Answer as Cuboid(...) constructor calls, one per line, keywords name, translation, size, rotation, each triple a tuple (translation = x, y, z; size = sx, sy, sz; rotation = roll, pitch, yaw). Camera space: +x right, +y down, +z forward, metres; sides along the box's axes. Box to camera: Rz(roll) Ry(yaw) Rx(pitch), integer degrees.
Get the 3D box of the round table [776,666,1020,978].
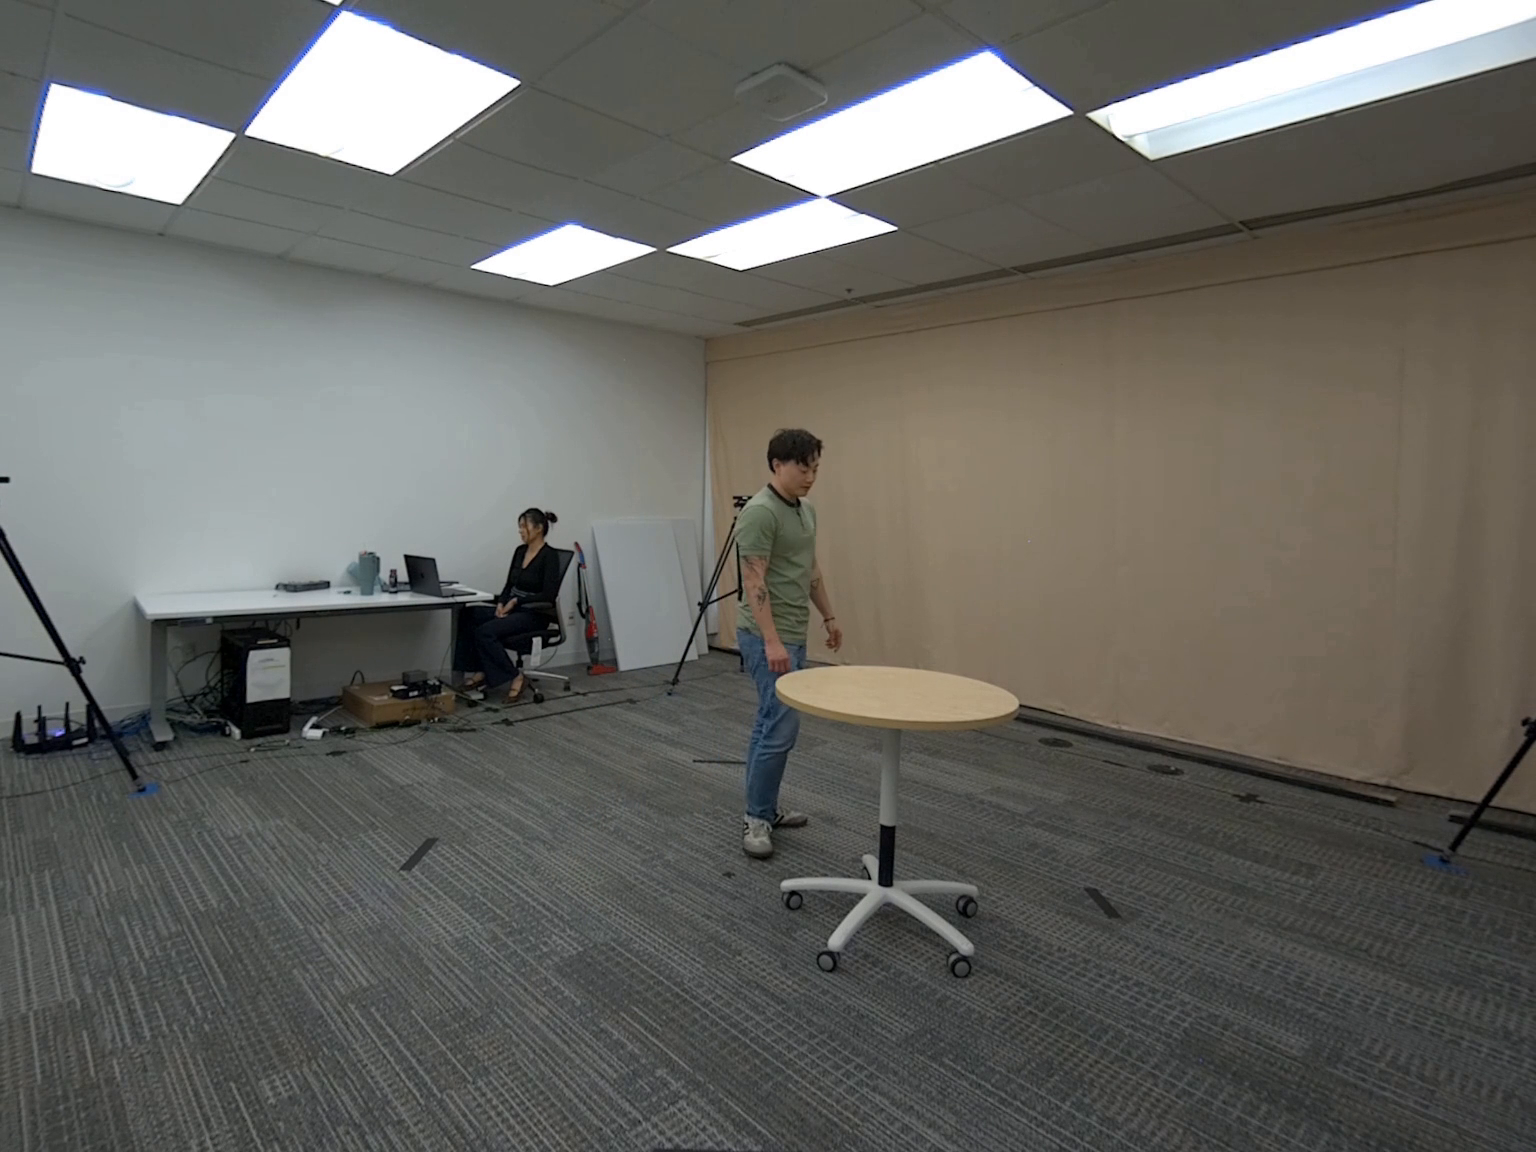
Cuboid(name="round table", translation=(0.384, 0.760, 2.739), size=(0.763, 0.791, 0.767), rotation=(2, 5, -2))
